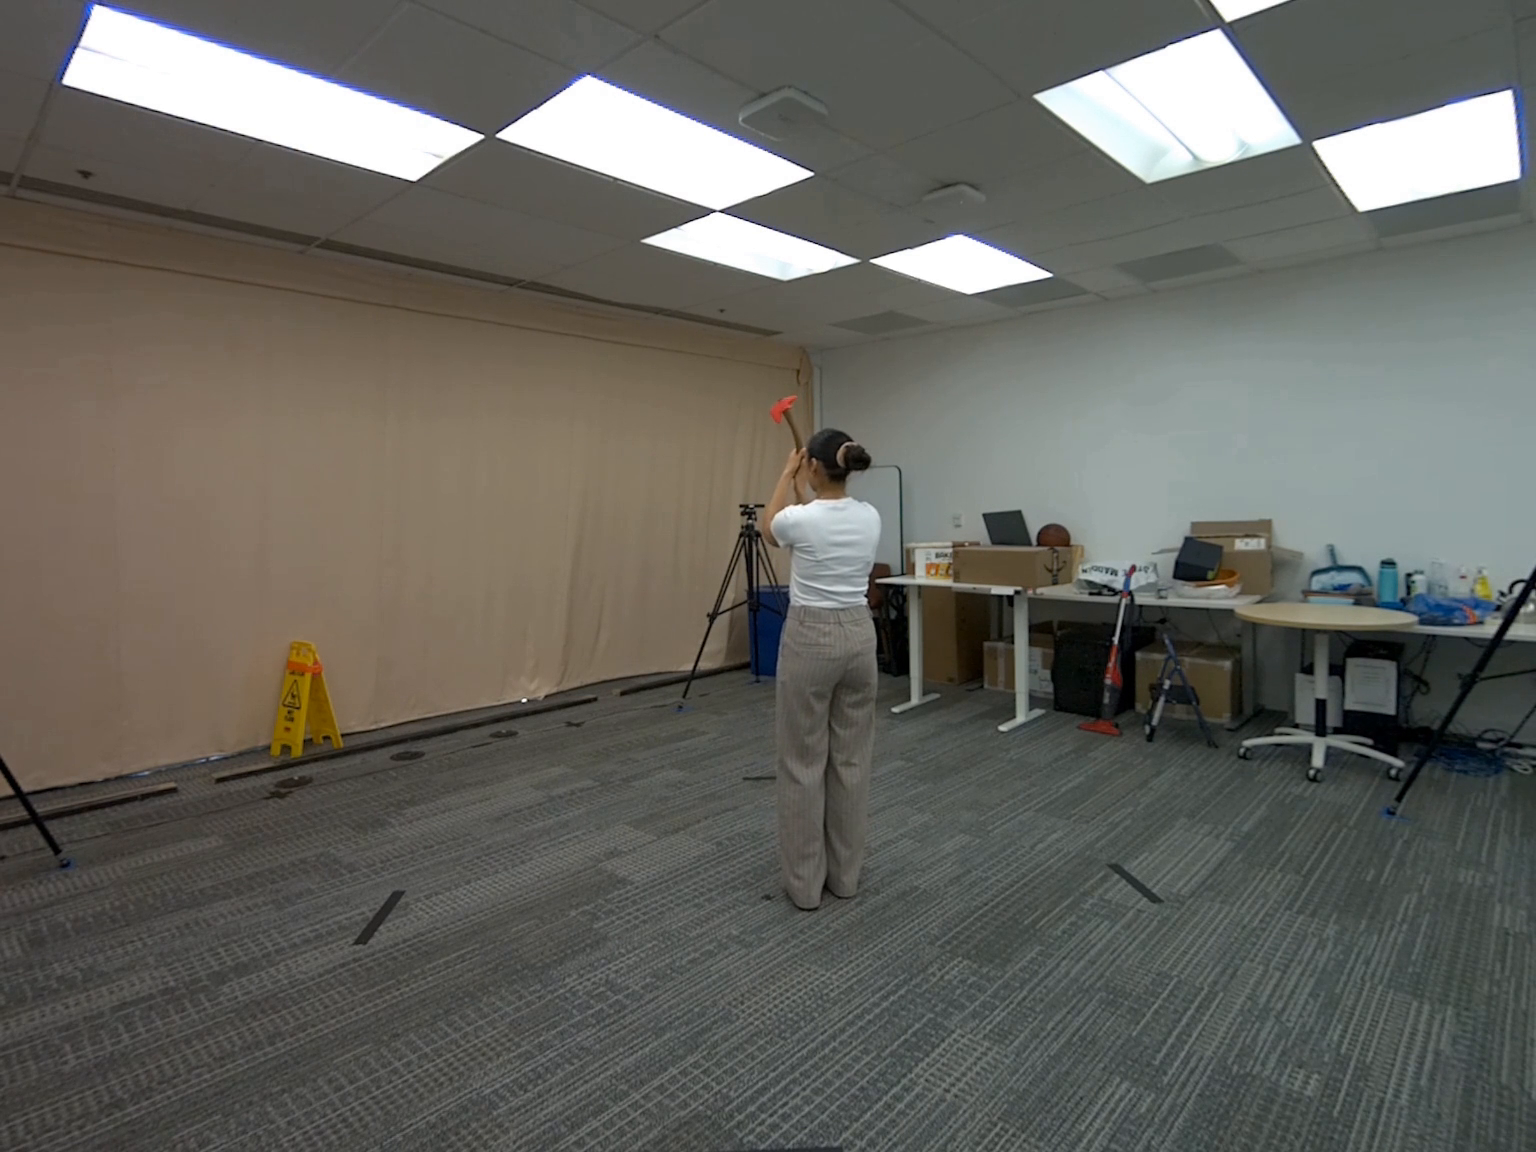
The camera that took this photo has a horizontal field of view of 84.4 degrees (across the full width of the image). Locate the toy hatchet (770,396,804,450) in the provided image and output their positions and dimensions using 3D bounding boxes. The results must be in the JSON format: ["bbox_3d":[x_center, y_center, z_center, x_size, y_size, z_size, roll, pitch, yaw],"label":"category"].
[{"bbox_3d":[0.081,-0.560,3.257,0.134,0.270,0.029,-7,-2,31],"label":"toy hatchet"}]
